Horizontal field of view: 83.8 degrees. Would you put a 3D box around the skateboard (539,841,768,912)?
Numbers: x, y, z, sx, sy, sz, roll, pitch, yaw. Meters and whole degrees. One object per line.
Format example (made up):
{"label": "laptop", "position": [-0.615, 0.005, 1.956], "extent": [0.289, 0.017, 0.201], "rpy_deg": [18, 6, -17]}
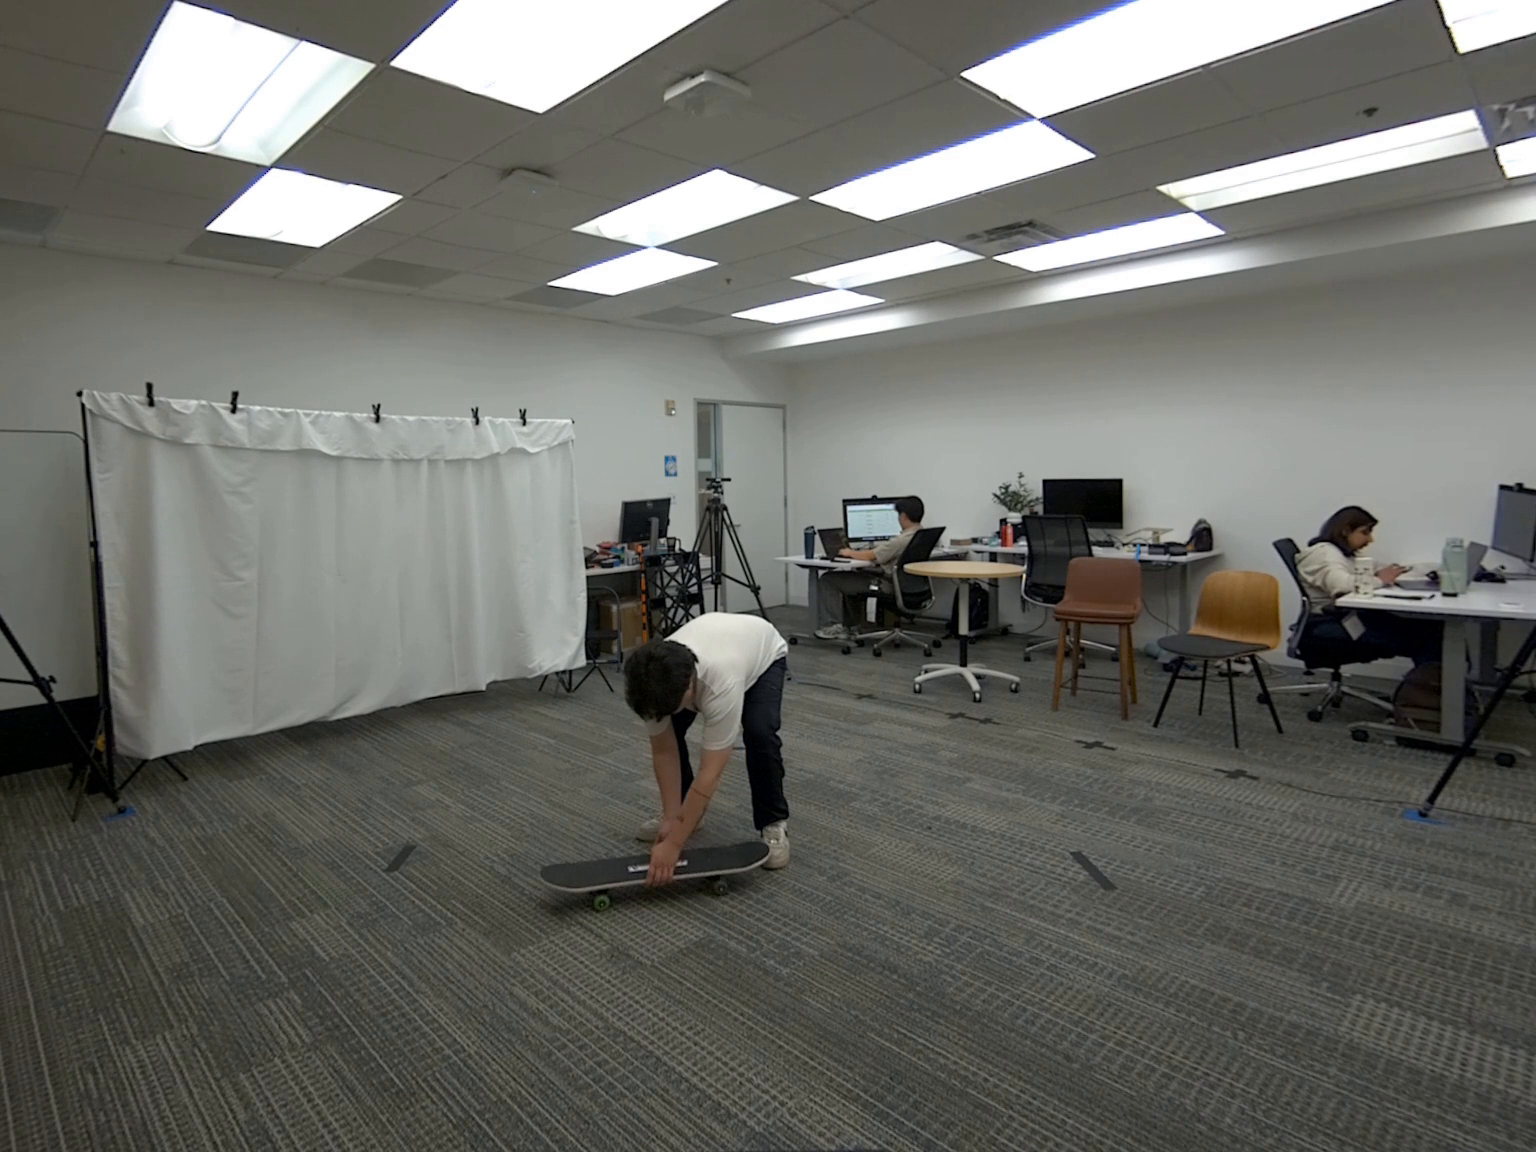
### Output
{"label": "skateboard", "position": [-0.368, 1.014, 2.895], "extent": [0.777, 0.110, 0.196], "rpy_deg": [-2, 6, -12]}
